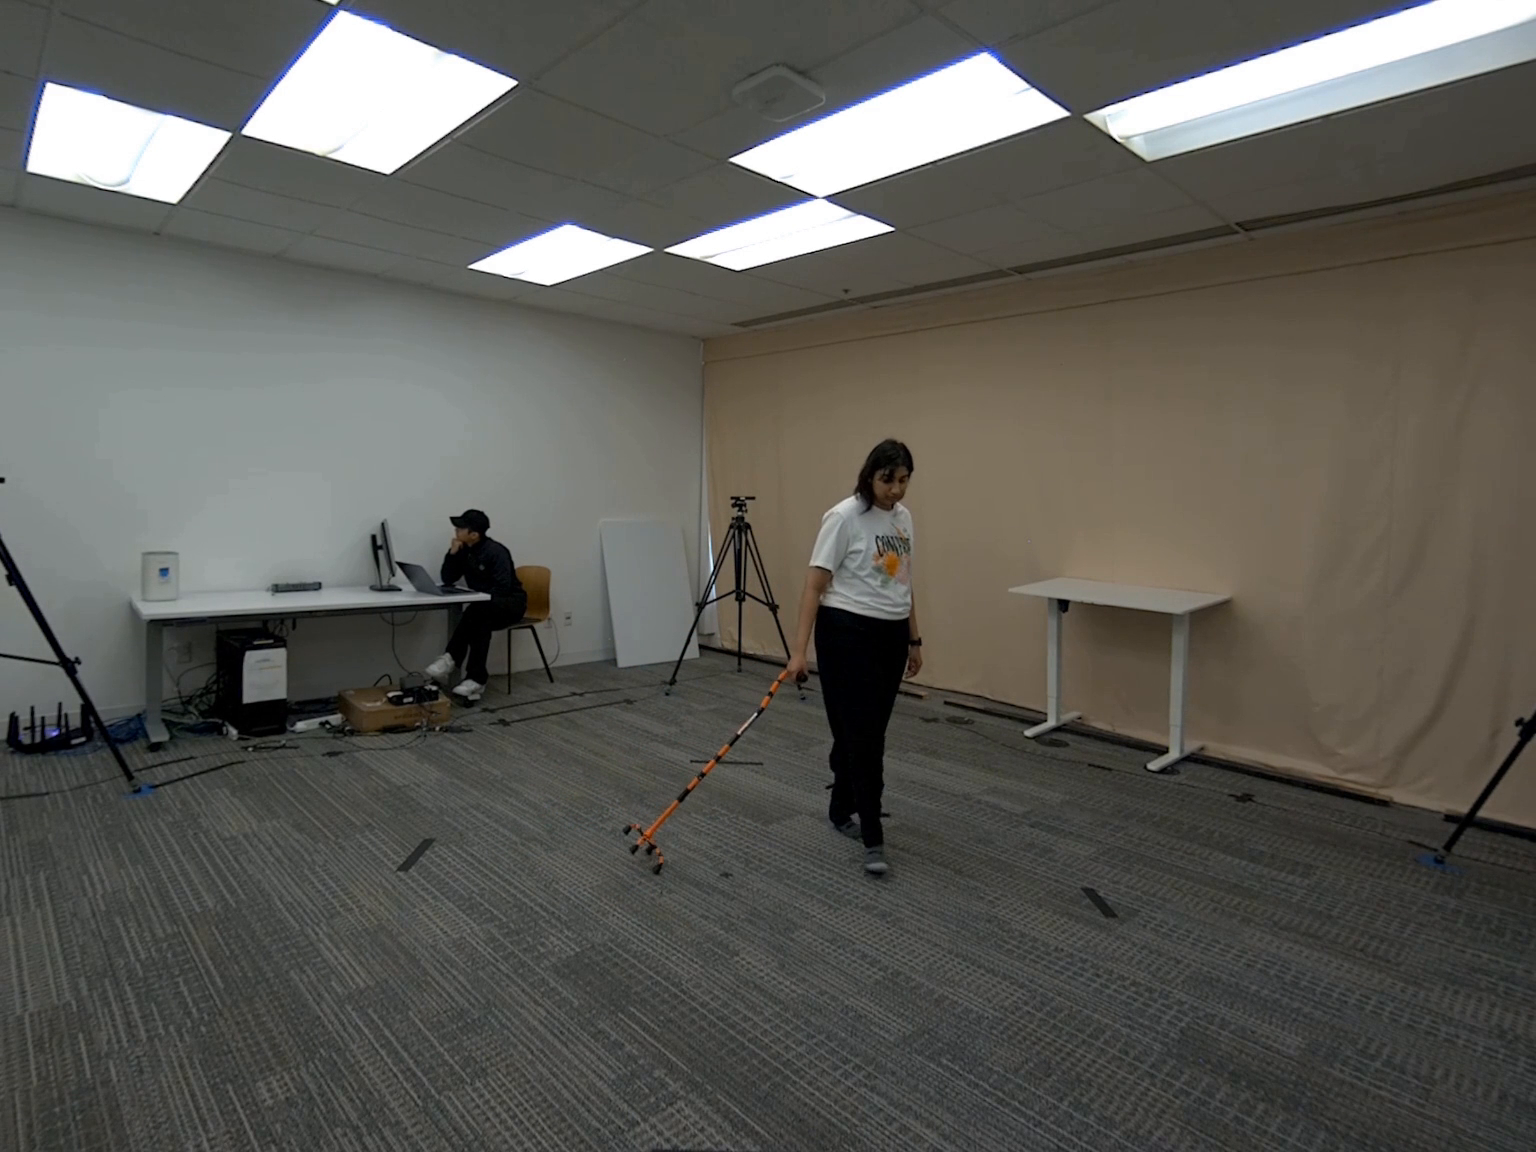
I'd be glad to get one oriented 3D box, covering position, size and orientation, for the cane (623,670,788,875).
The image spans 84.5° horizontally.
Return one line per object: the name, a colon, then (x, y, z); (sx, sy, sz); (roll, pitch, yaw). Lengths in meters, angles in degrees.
cane: (-0.189, 0.706, 3.221); (0.149, 0.908, 0.209); (44, -6, -14)
